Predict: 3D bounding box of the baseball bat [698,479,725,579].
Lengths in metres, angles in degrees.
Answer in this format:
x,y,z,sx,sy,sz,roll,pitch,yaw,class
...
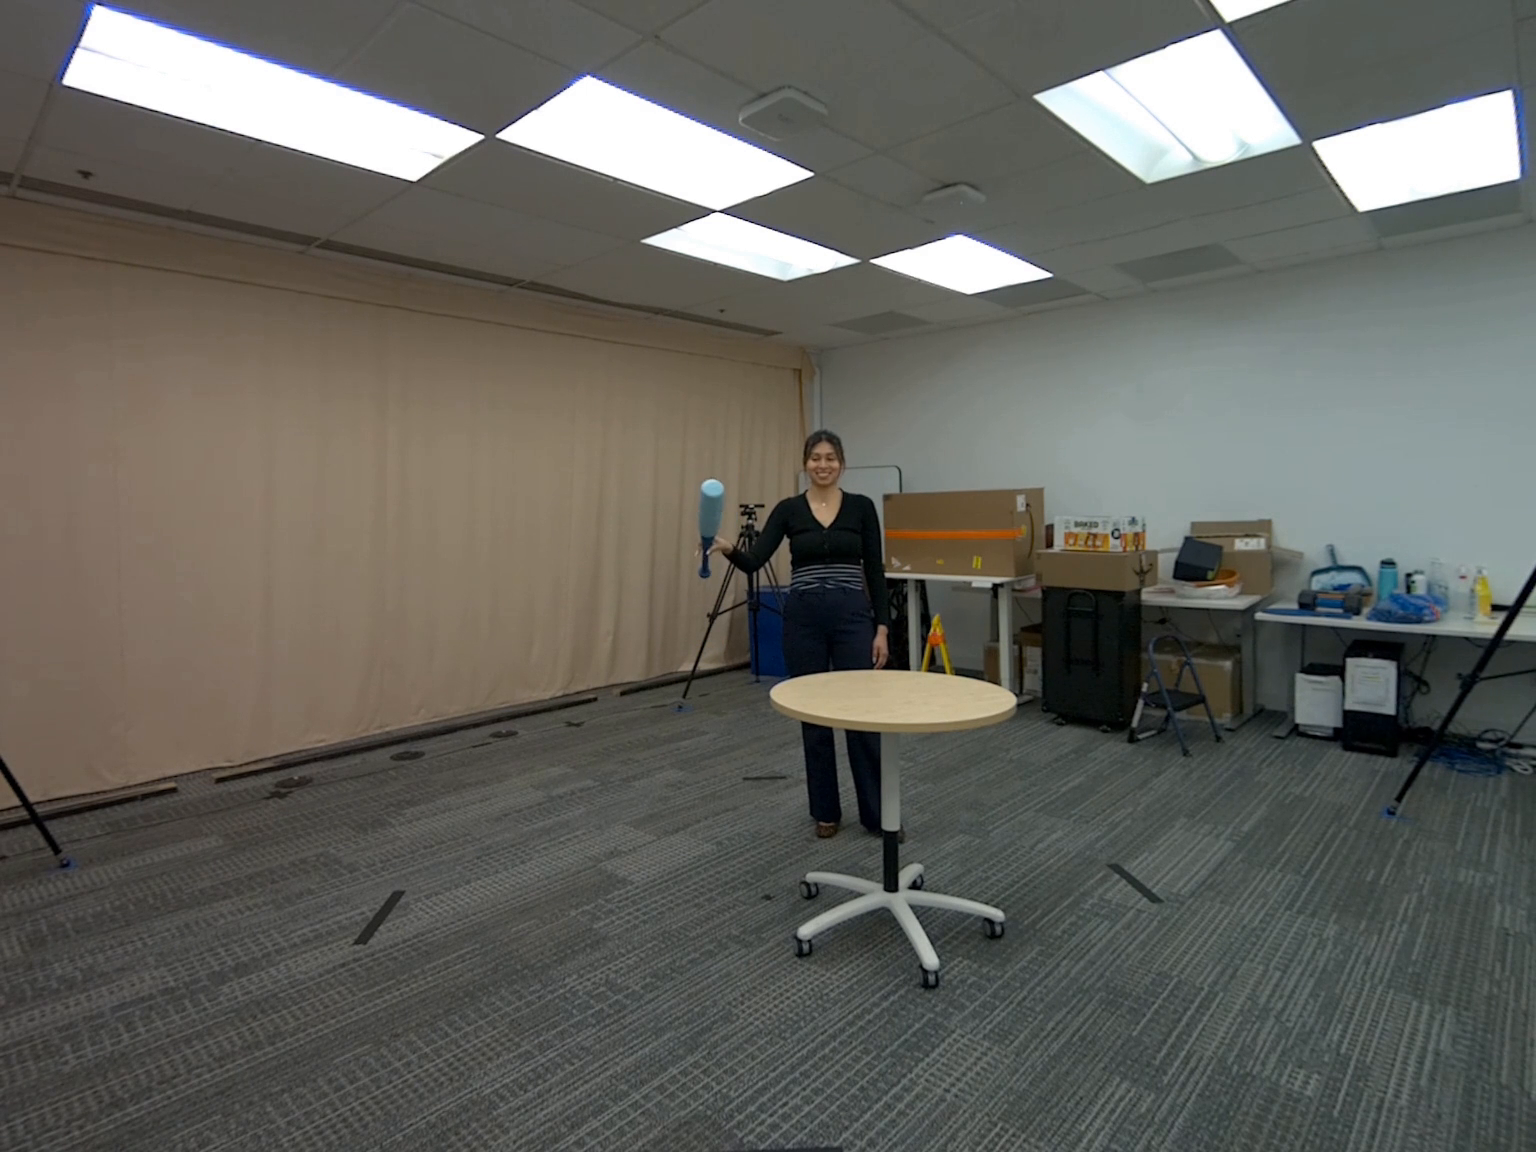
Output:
x,y,z,sx,sy,sz,roll,pitch,yaw,class
-0.222,-0.154,3.181,0.088,0.091,0.535,0,-36,-6,baseball bat
